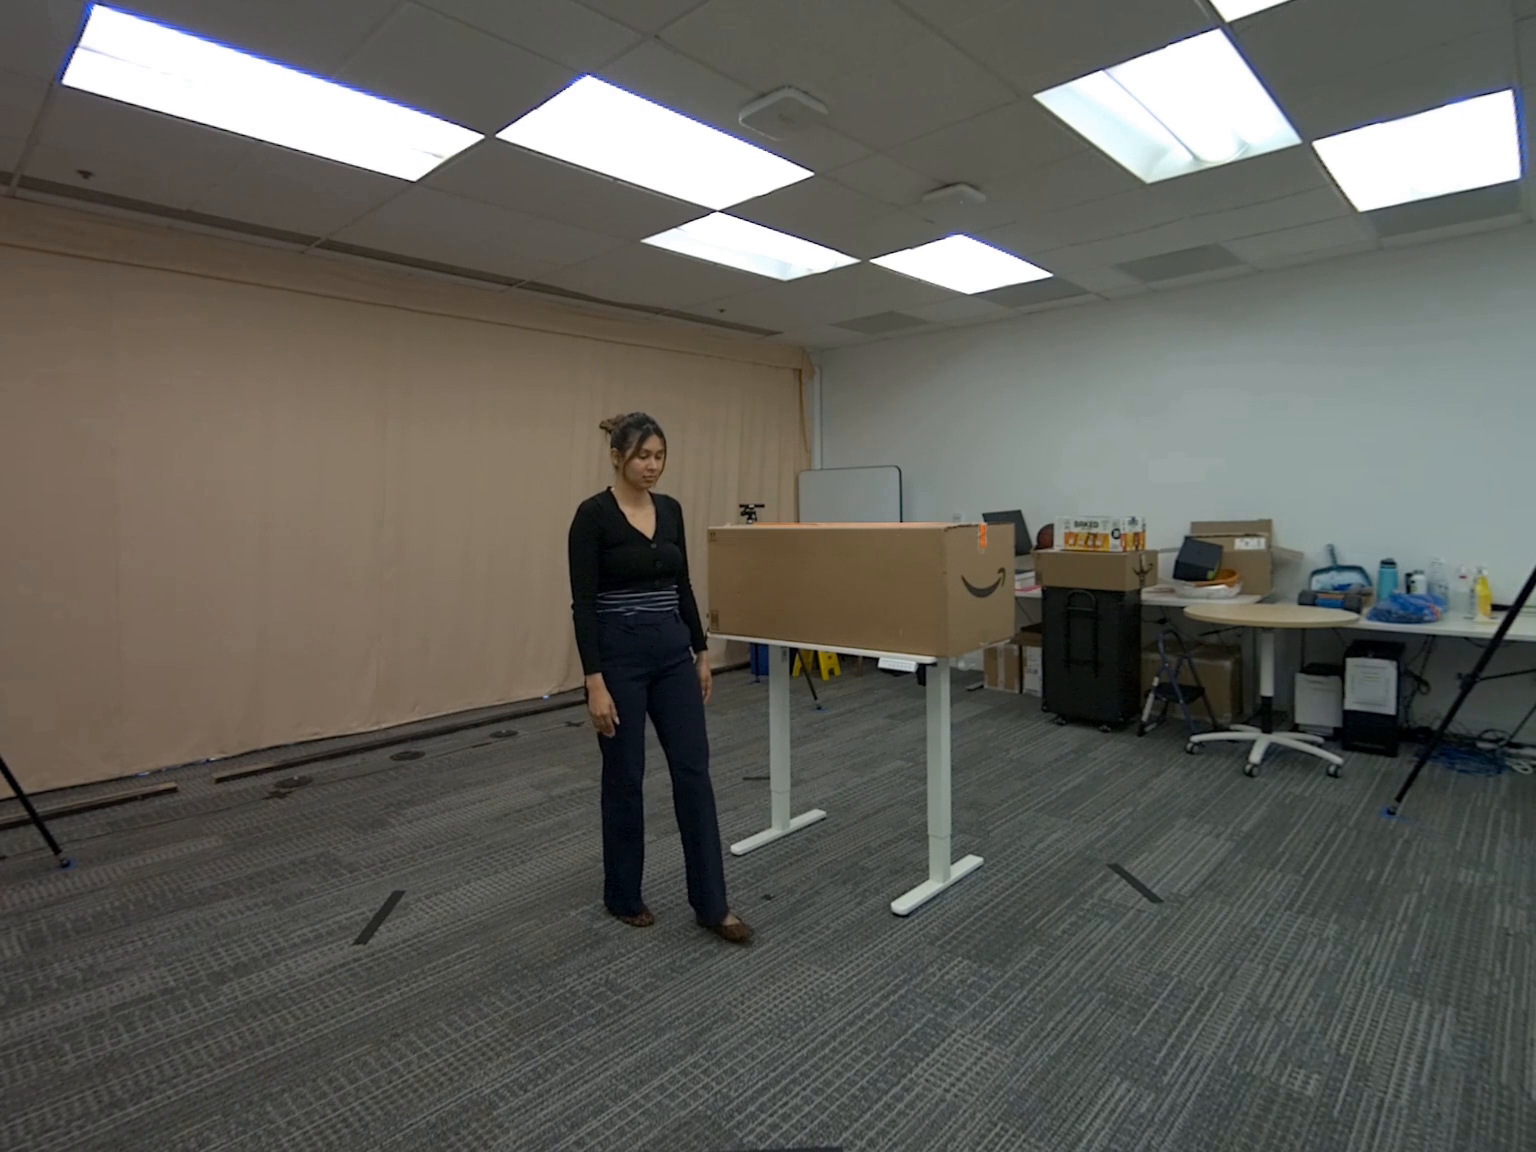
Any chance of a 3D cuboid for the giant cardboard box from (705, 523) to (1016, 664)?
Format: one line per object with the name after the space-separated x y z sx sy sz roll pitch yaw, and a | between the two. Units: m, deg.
0.332 0.016 3.224 1.059 0.425 0.560 2 4 40 | giant cardboard box
